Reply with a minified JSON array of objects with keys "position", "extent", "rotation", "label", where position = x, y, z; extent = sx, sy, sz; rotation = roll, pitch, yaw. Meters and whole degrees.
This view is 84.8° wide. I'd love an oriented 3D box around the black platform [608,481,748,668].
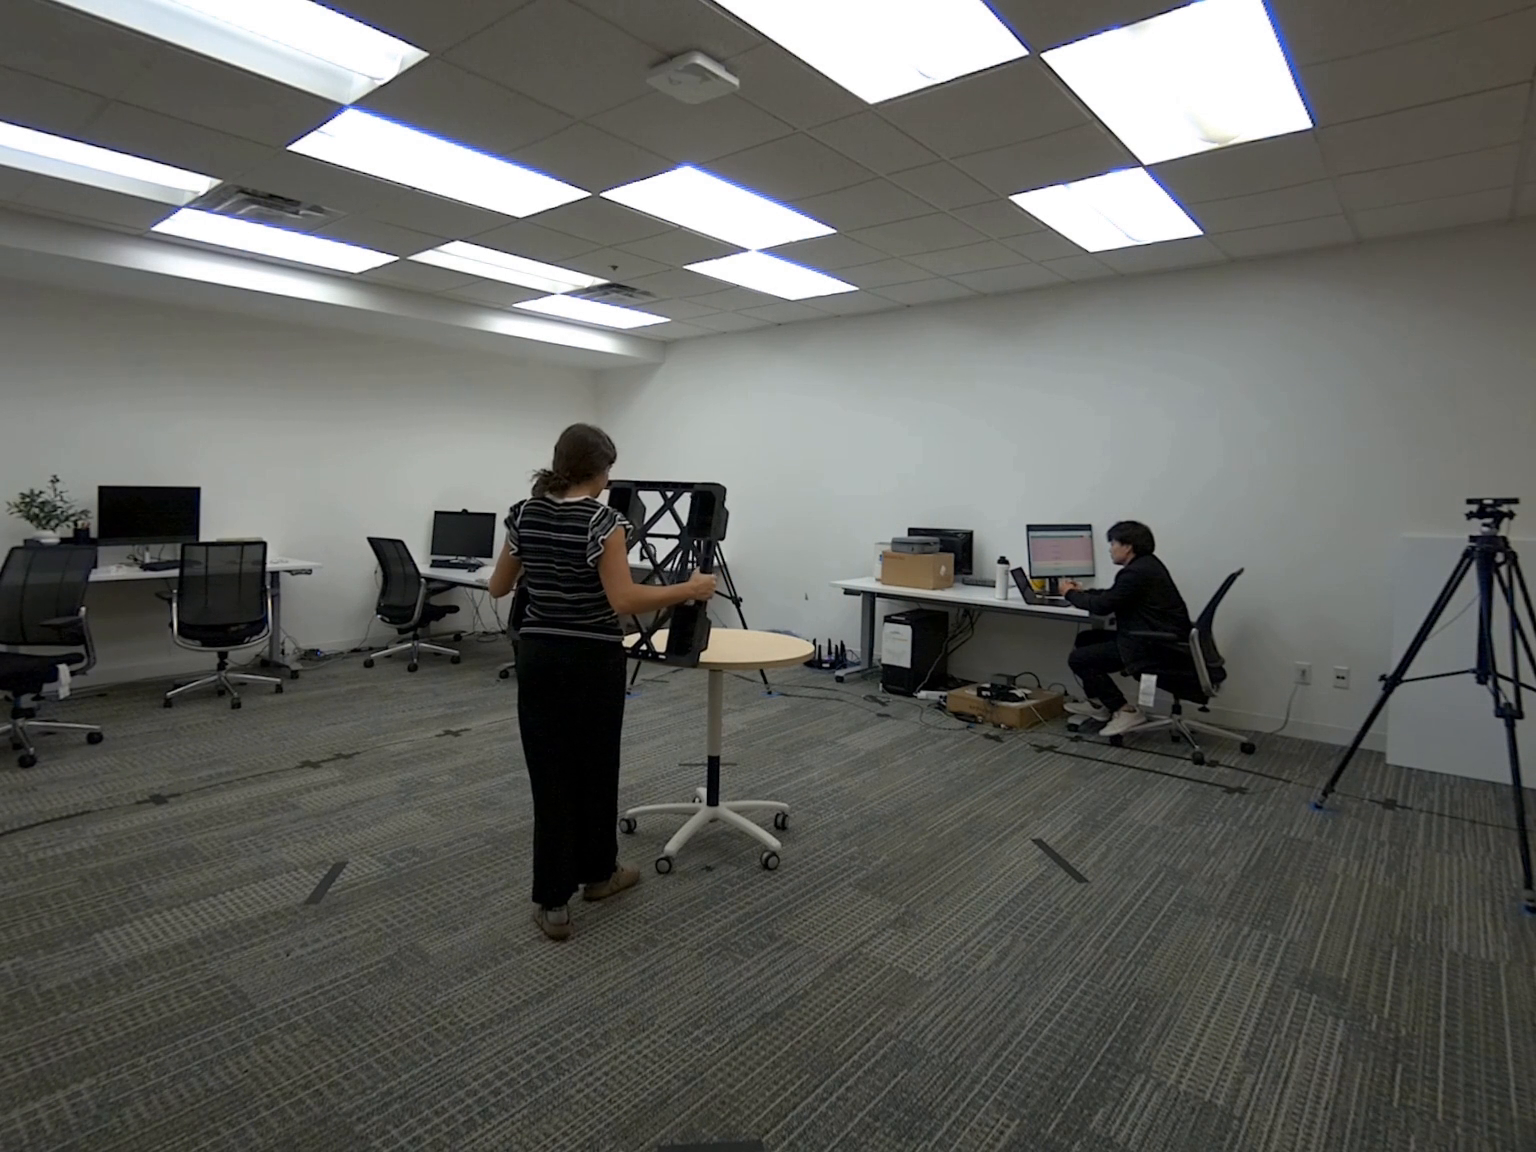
[{"position":[-0.529,-0.037,2.956],"extent":[0.829,0.610,0.138],"rotation":[5,-10,29],"label":"black platform"}]
